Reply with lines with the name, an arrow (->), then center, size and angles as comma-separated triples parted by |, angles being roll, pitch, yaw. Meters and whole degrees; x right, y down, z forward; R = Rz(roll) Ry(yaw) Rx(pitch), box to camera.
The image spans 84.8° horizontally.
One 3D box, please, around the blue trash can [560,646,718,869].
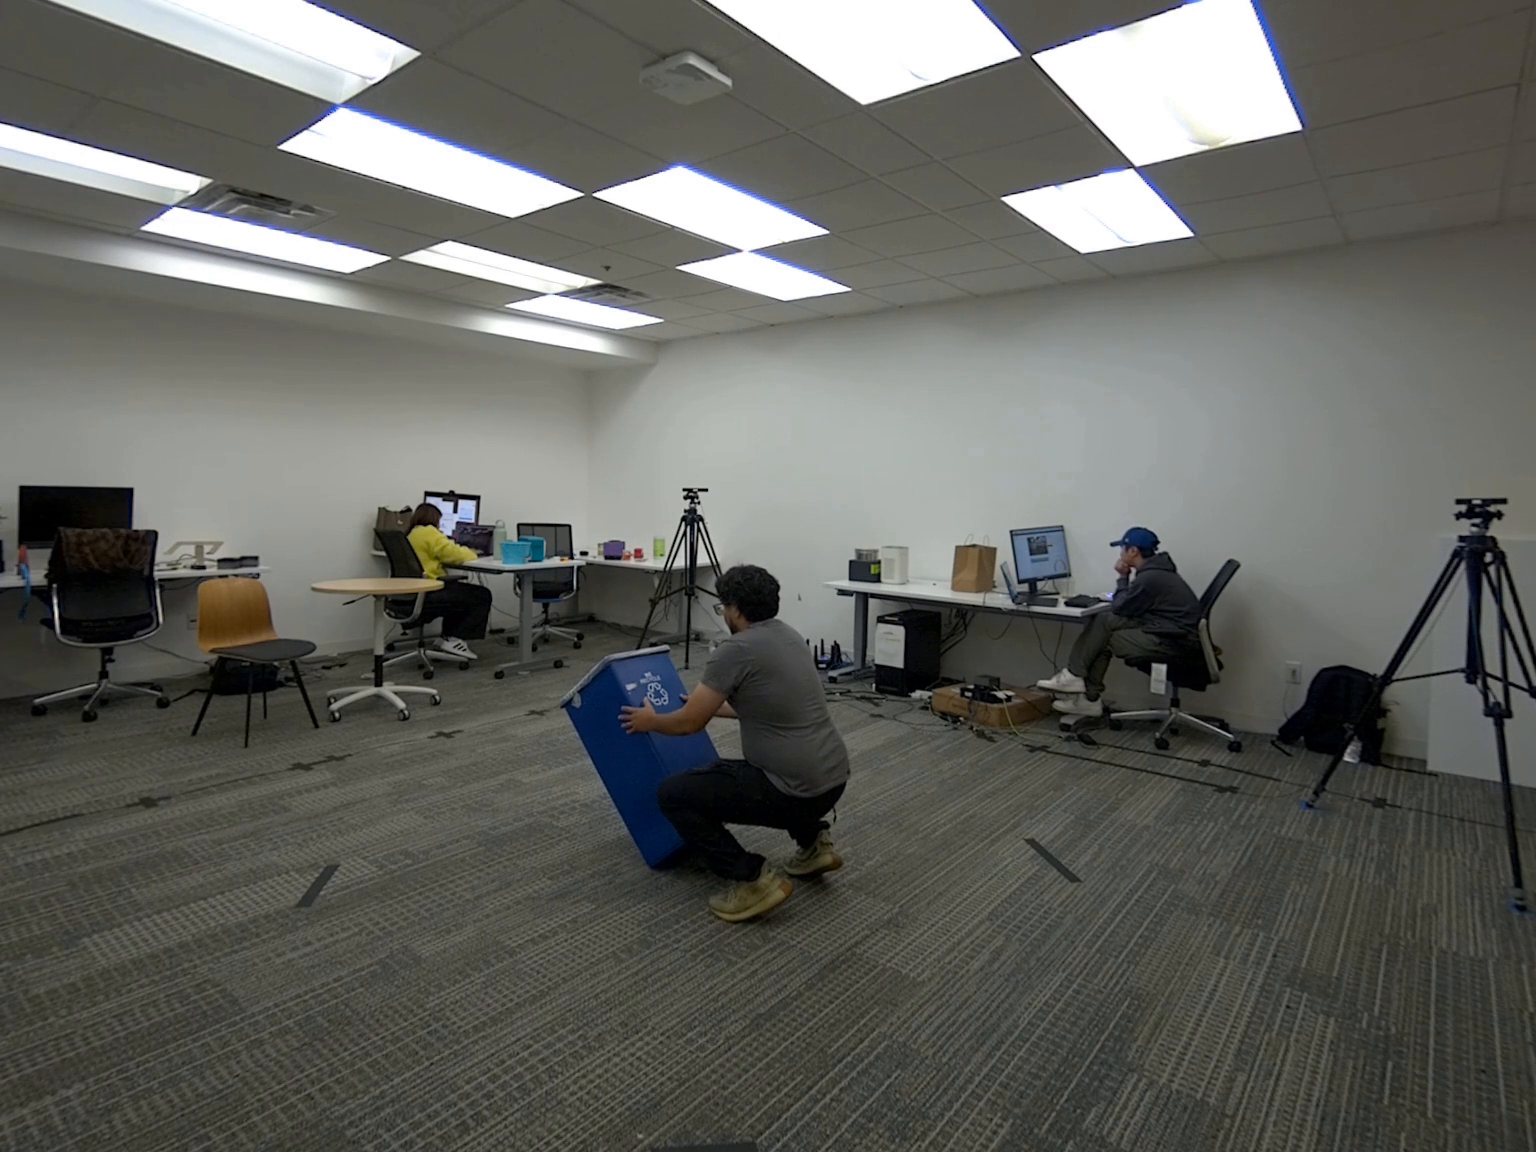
blue trash can -> -0.449, 0.679, 3.284 | 0.379, 0.733, 0.363 | -43, -22, 29
